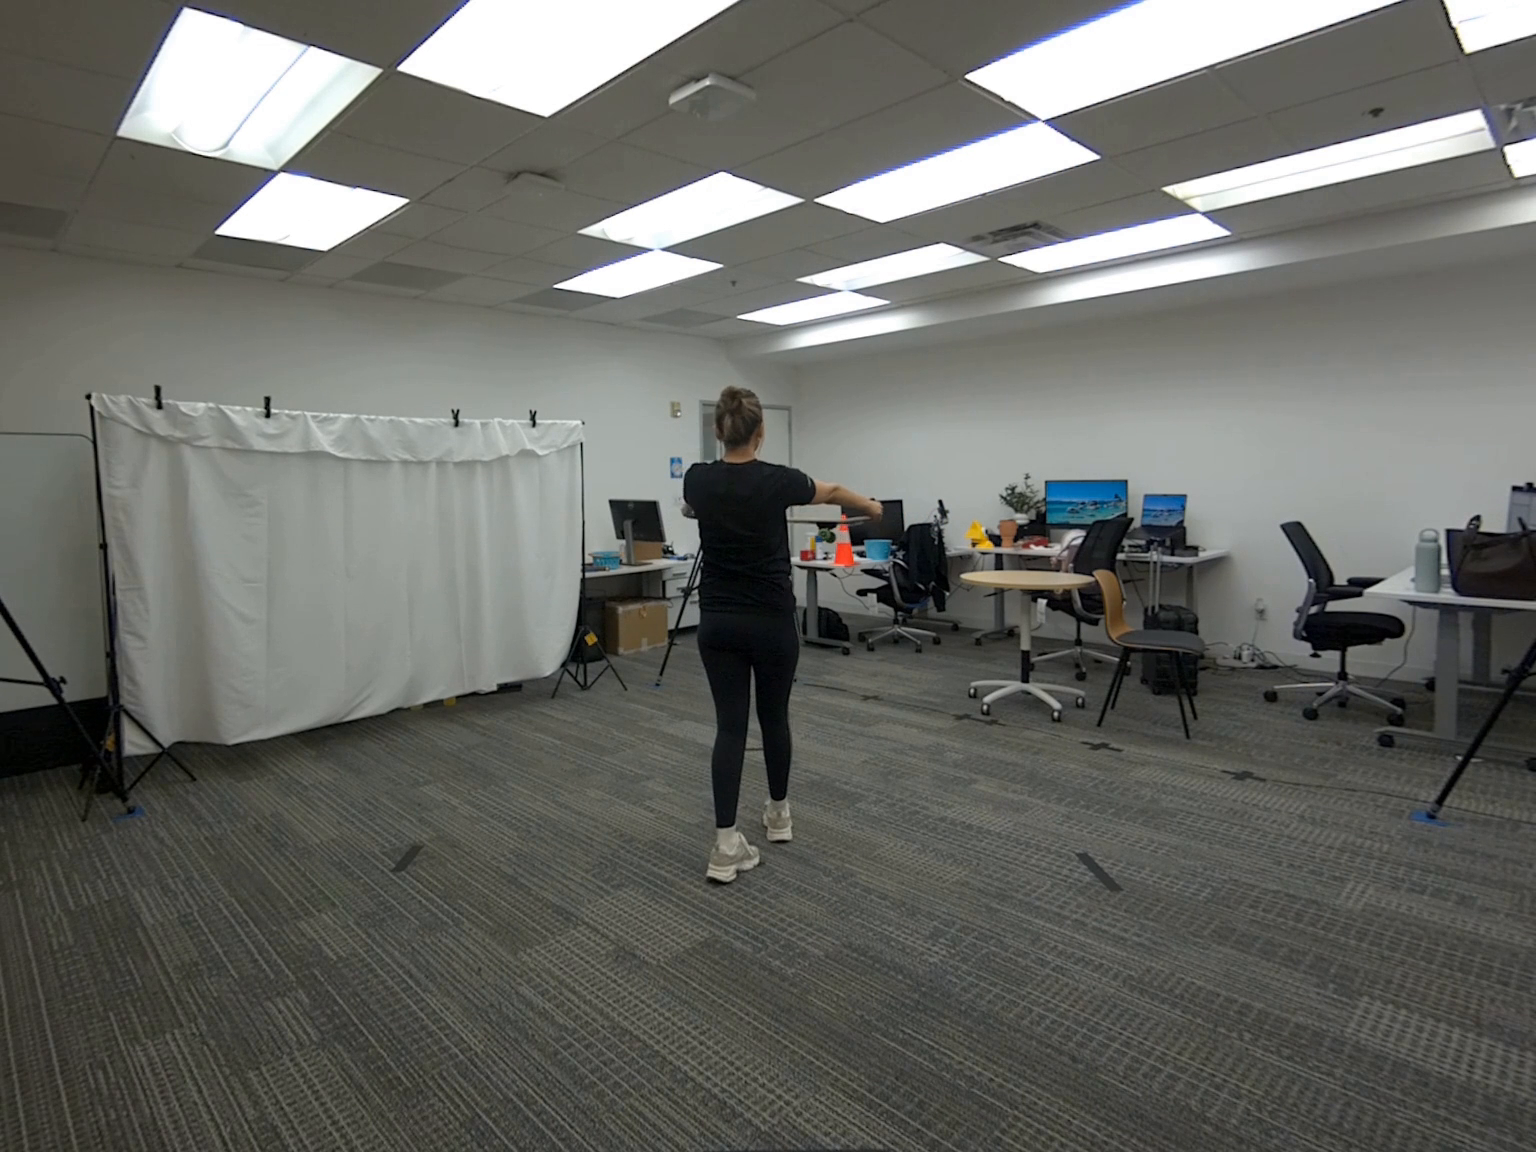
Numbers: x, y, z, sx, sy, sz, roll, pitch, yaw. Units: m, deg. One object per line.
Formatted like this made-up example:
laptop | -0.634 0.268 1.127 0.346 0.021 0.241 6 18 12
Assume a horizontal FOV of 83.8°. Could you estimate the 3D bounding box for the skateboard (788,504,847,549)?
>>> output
skateboard | 0.041 -0.199 3.598 0.799 0.110 0.190 4 -1 16
